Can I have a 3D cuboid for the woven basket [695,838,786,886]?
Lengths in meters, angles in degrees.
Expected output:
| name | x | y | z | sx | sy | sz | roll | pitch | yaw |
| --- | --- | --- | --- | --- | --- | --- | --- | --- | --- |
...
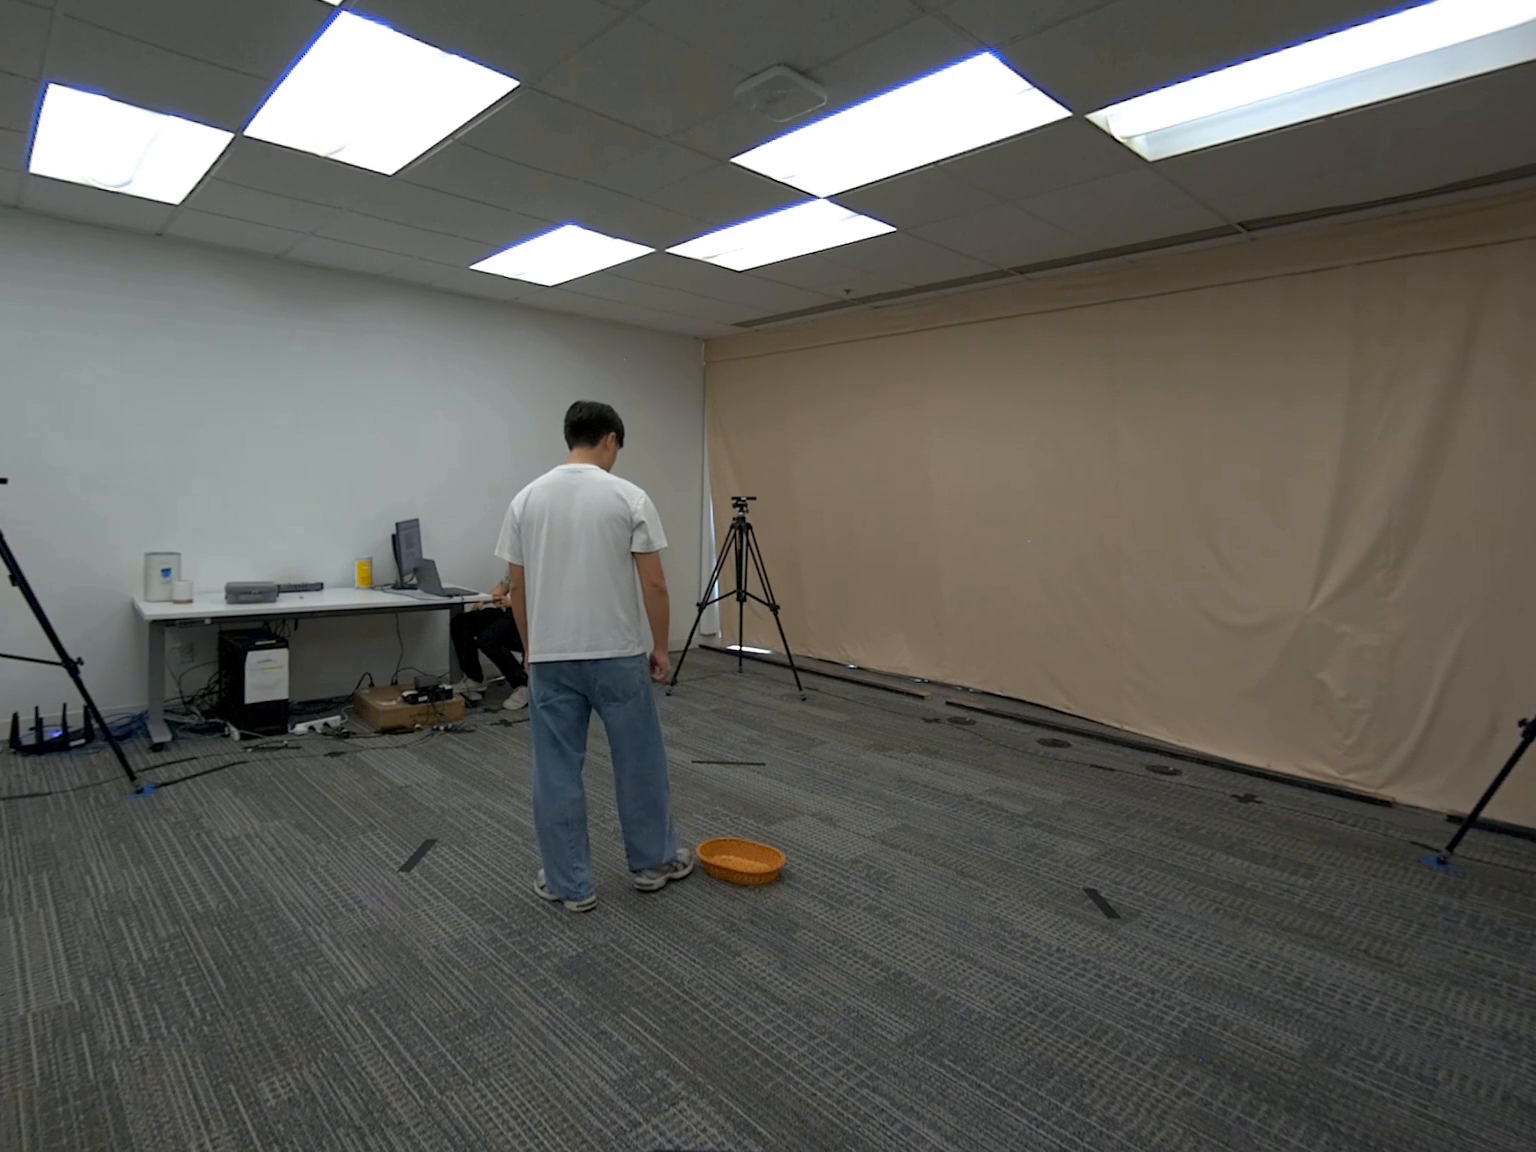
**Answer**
| name | x | y | z | sx | sy | sz | roll | pitch | yaw |
| --- | --- | --- | --- | --- | --- | --- | --- | --- | --- |
| woven basket | -0.115 | 1.062 | 3.137 | 0.358 | 0.073 | 0.248 | 5 | 6 | 30 |
